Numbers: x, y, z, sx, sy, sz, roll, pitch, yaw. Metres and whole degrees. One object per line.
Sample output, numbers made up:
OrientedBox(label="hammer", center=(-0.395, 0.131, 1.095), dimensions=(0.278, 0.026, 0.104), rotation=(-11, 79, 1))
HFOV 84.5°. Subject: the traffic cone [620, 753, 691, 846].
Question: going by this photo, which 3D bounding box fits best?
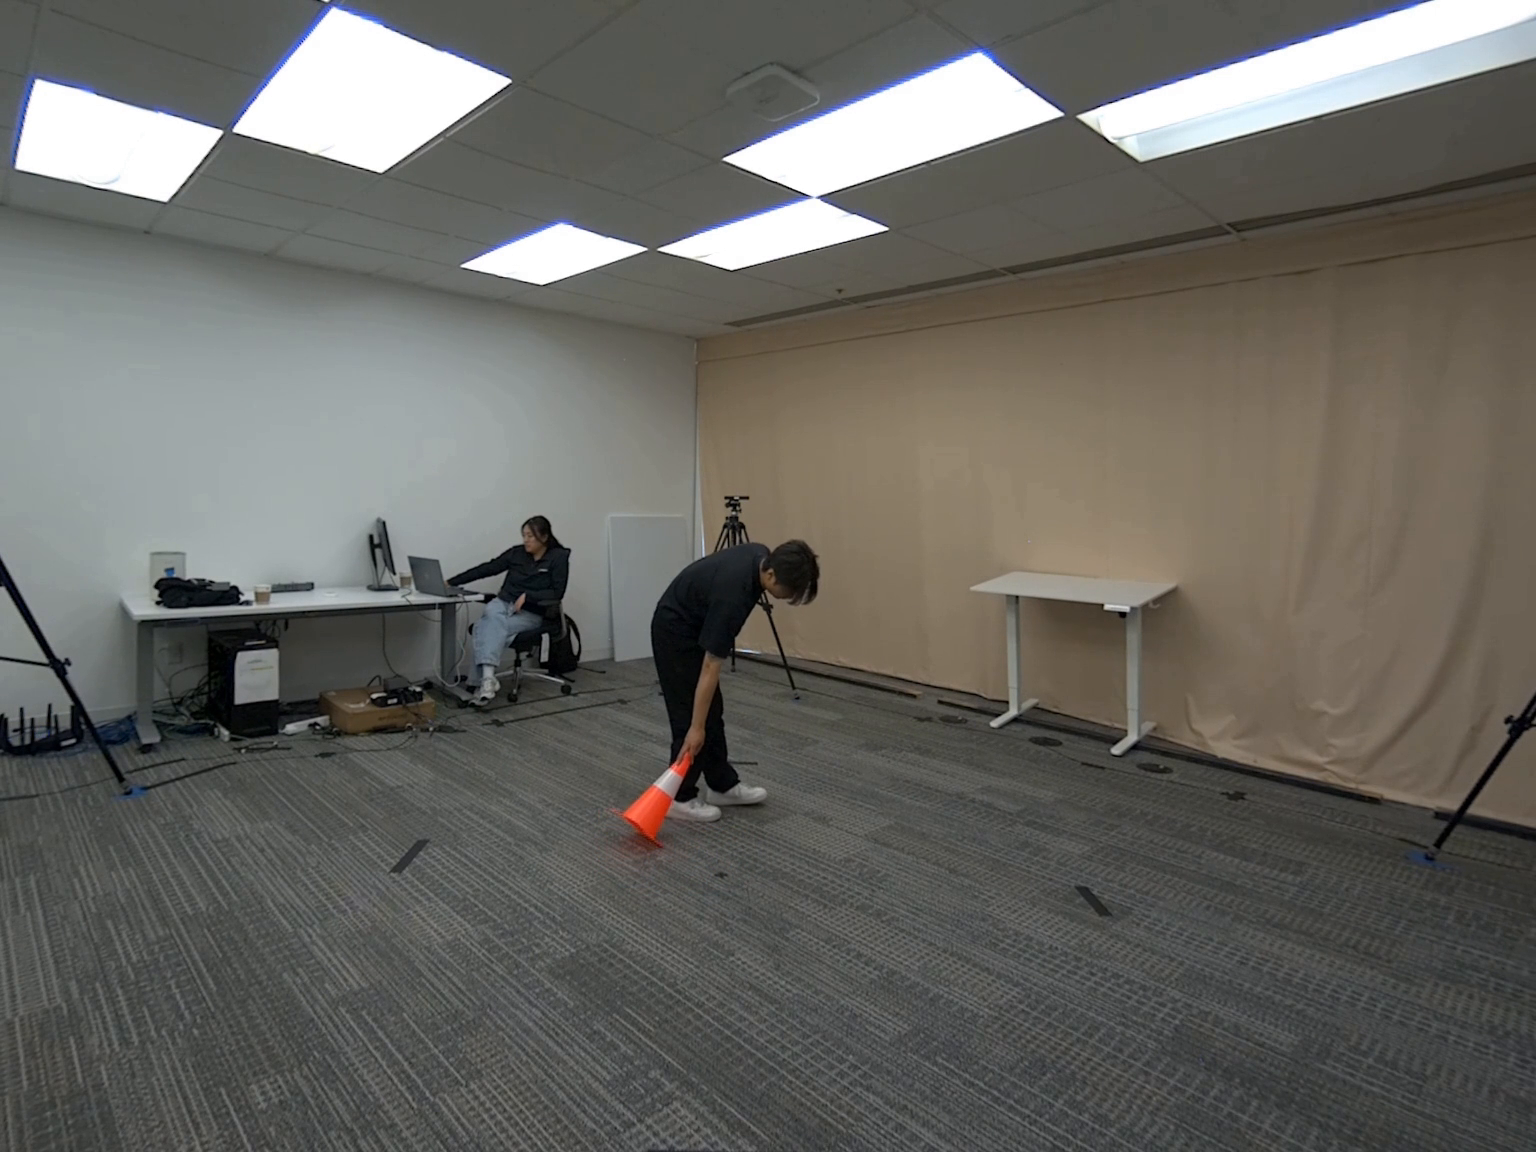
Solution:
OrientedBox(label="traffic cone", center=(-0.428, 0.864, 3.428), dimensions=(0.208, 0.385, 0.199), rotation=(8, -33, 50))
